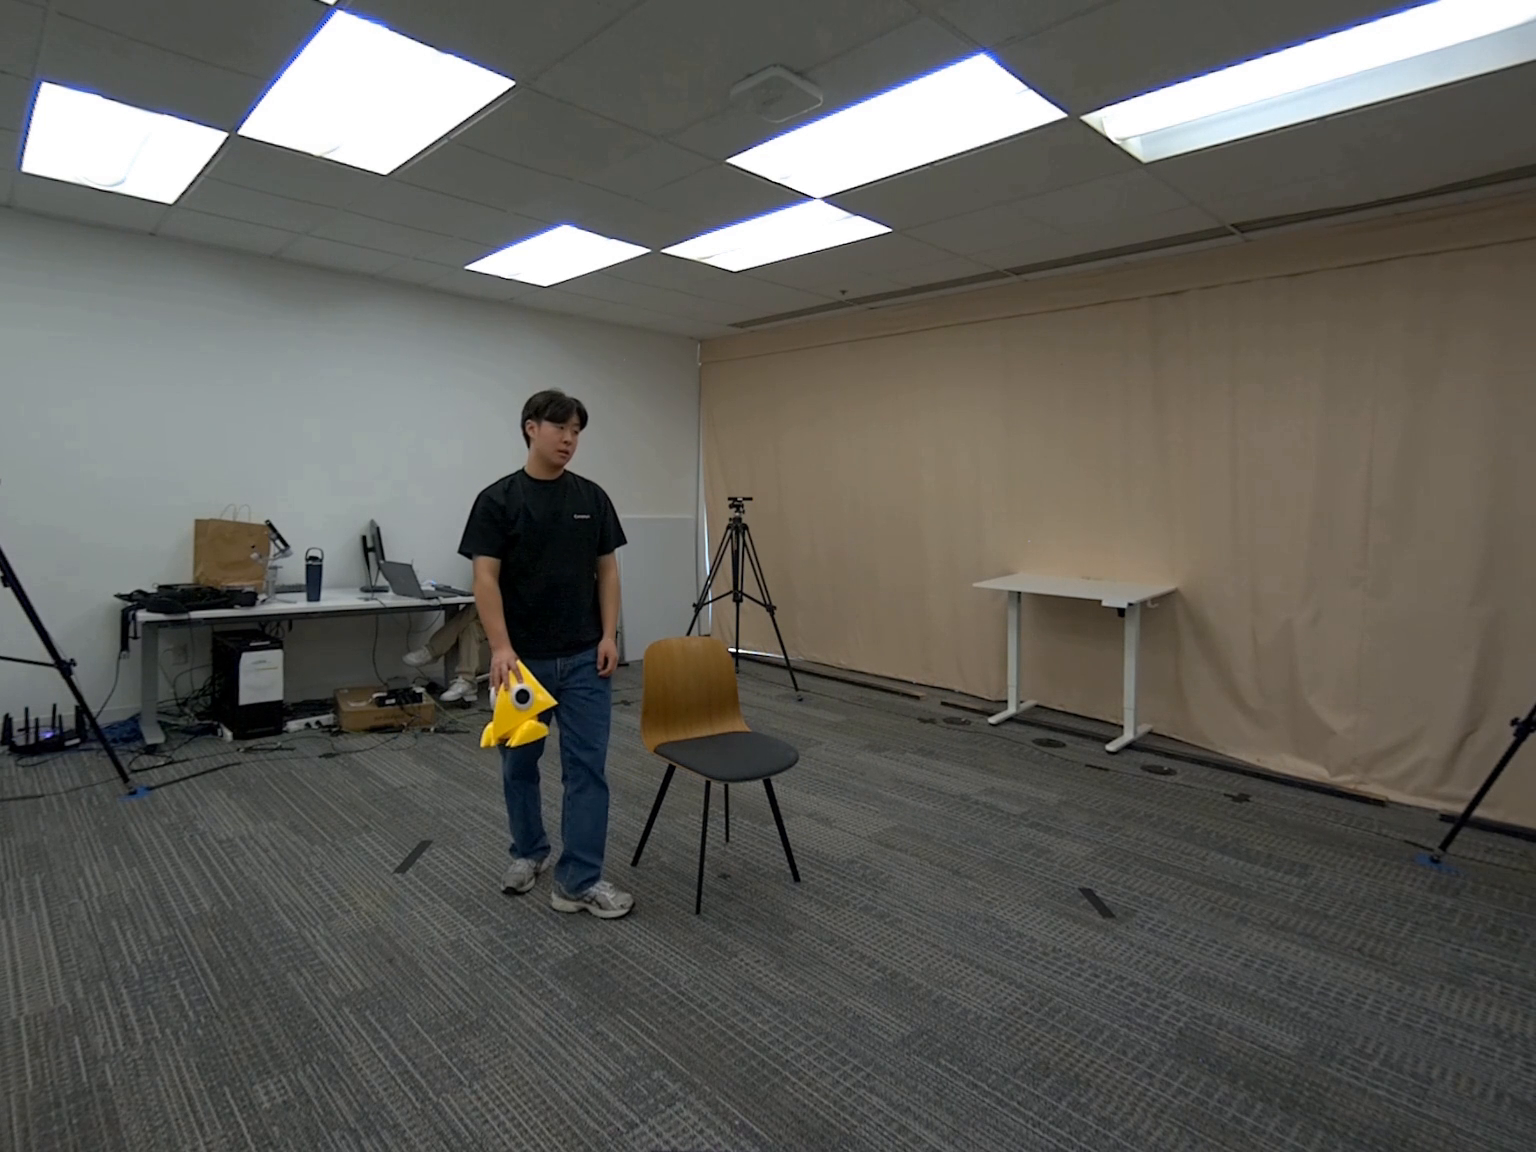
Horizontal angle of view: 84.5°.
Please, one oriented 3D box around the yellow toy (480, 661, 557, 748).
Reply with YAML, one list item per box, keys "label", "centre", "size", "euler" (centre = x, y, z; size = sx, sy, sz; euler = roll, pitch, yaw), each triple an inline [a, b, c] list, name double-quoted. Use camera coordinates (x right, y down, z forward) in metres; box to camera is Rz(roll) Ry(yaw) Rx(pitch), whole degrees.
- label: "yellow toy"
  centre: [-0.806, 0.388, 2.590]
  size: [0.208, 0.230, 0.190]
  euler: [-8, 2, 29]
